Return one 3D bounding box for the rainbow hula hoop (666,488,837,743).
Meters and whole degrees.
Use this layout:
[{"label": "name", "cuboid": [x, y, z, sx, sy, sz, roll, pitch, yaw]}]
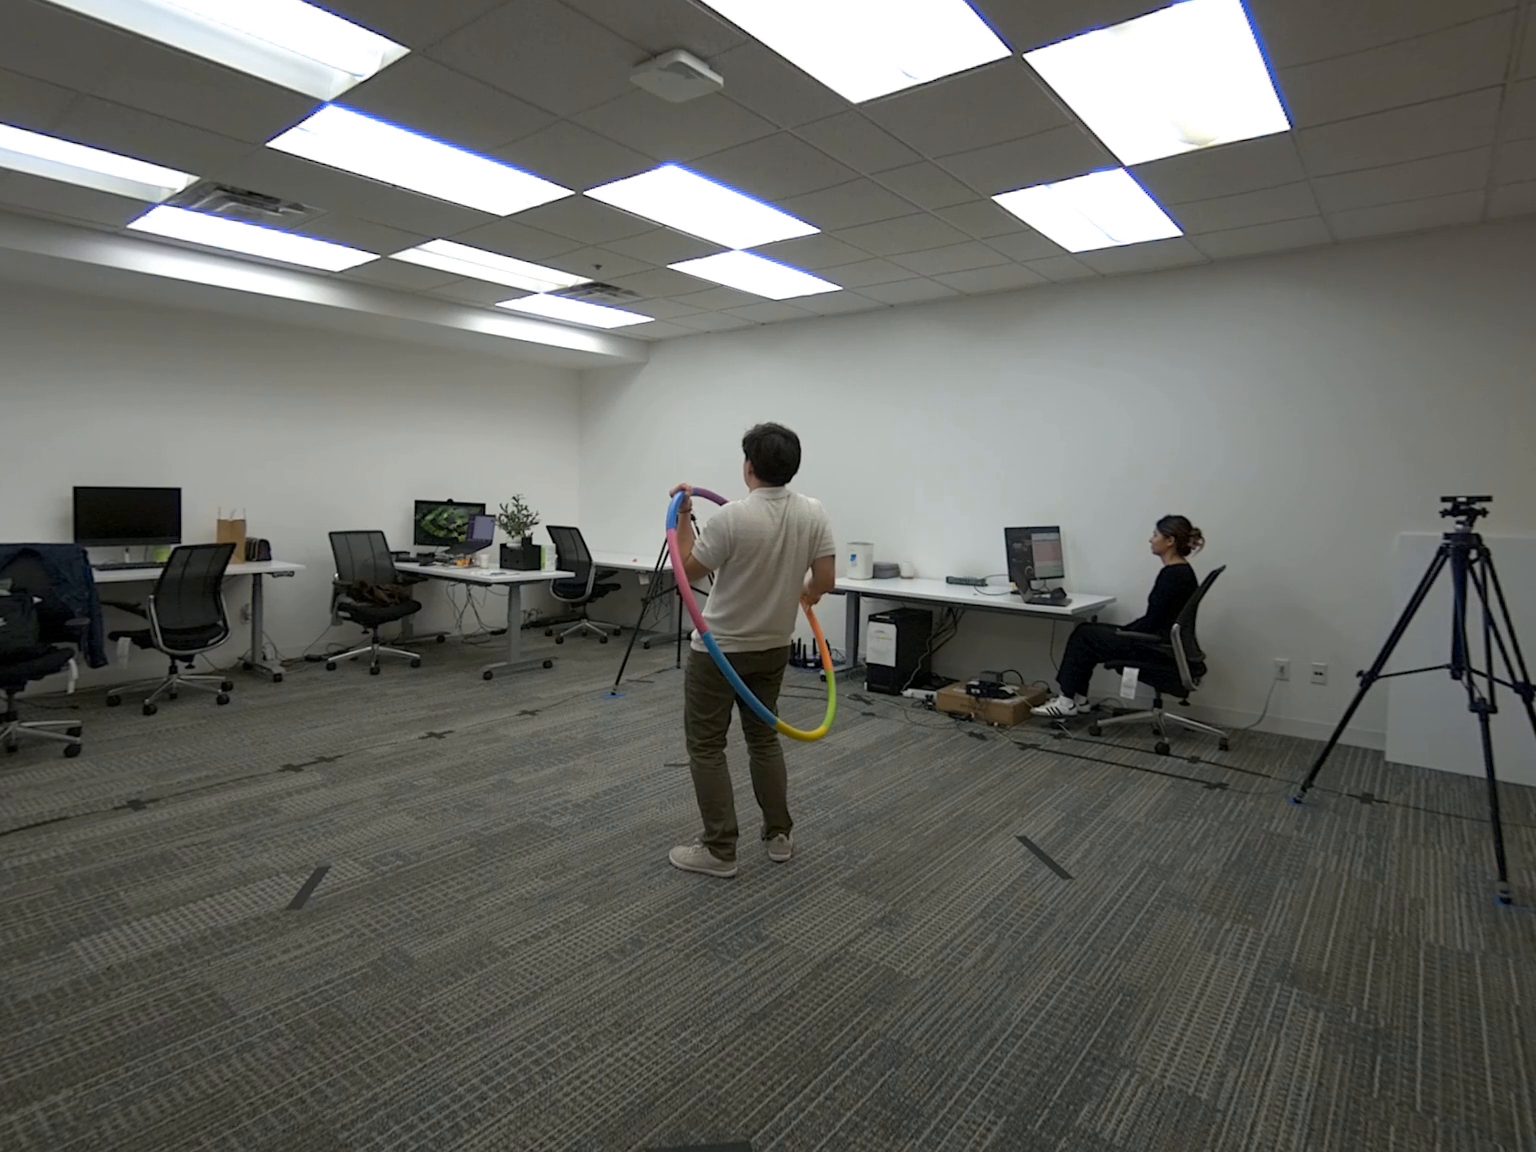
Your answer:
[{"label": "rainbow hula hoop", "cuboid": [-0.053, 0.107, 3.001, 0.036, 0.991, 0.959, -32, -9, 21]}]
